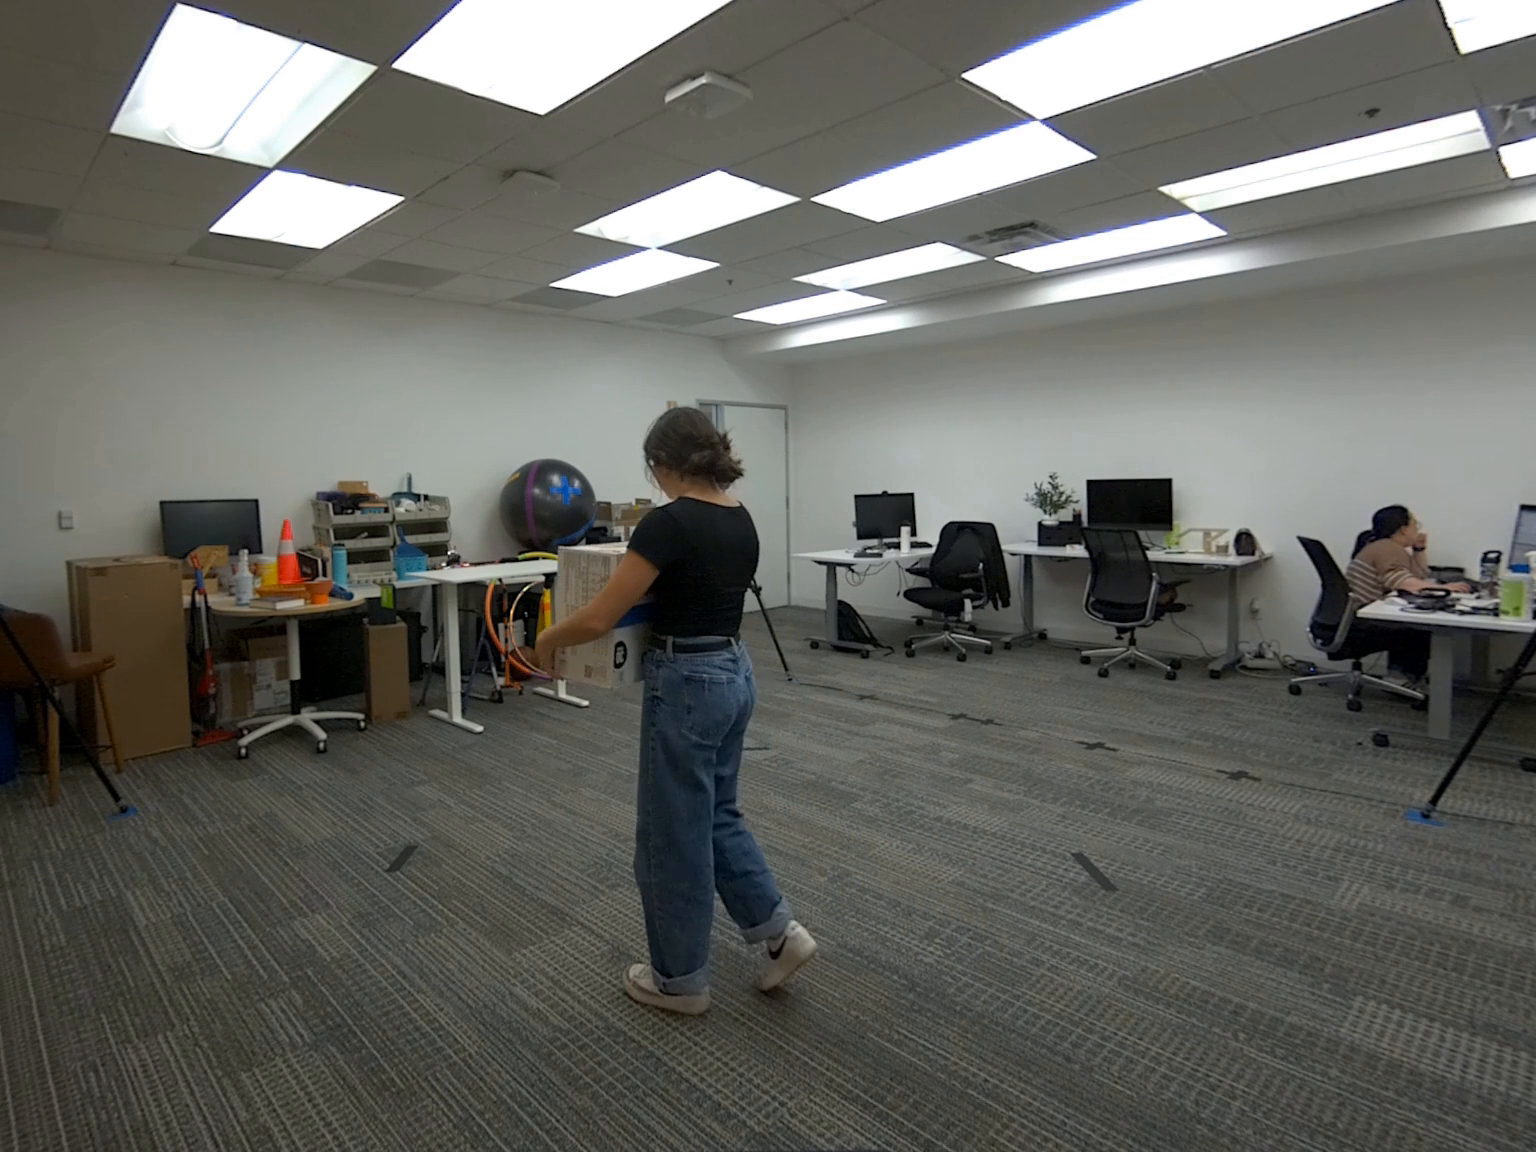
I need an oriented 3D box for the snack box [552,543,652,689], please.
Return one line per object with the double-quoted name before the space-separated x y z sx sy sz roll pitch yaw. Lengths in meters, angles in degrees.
"snack box" -0.354 0.084 2.318 0.211 0.339 0.395 5 6 31
